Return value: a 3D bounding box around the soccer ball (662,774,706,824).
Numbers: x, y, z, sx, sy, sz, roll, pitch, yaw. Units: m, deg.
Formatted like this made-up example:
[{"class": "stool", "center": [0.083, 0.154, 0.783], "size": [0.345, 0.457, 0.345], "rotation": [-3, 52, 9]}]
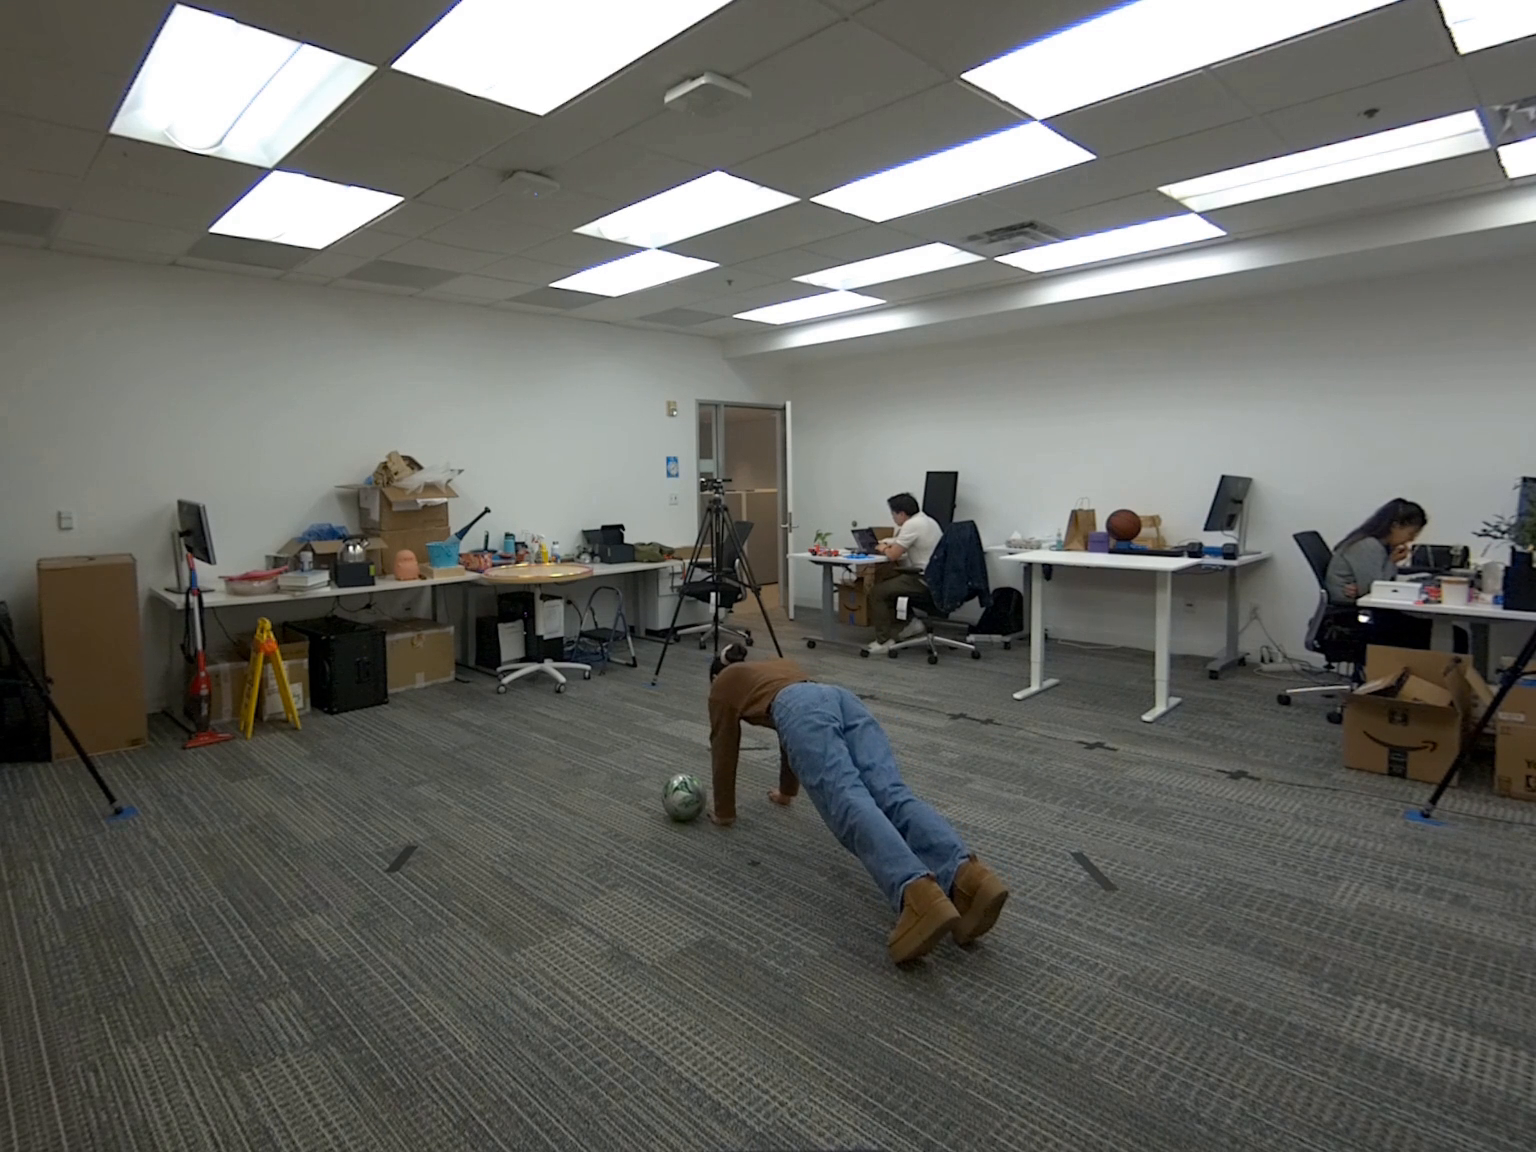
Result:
[{"class": "soccer ball", "center": [-0.342, 0.913, 3.516], "size": [0.187, 0.187, 0.188], "rotation": [-1, 5, -2]}]
